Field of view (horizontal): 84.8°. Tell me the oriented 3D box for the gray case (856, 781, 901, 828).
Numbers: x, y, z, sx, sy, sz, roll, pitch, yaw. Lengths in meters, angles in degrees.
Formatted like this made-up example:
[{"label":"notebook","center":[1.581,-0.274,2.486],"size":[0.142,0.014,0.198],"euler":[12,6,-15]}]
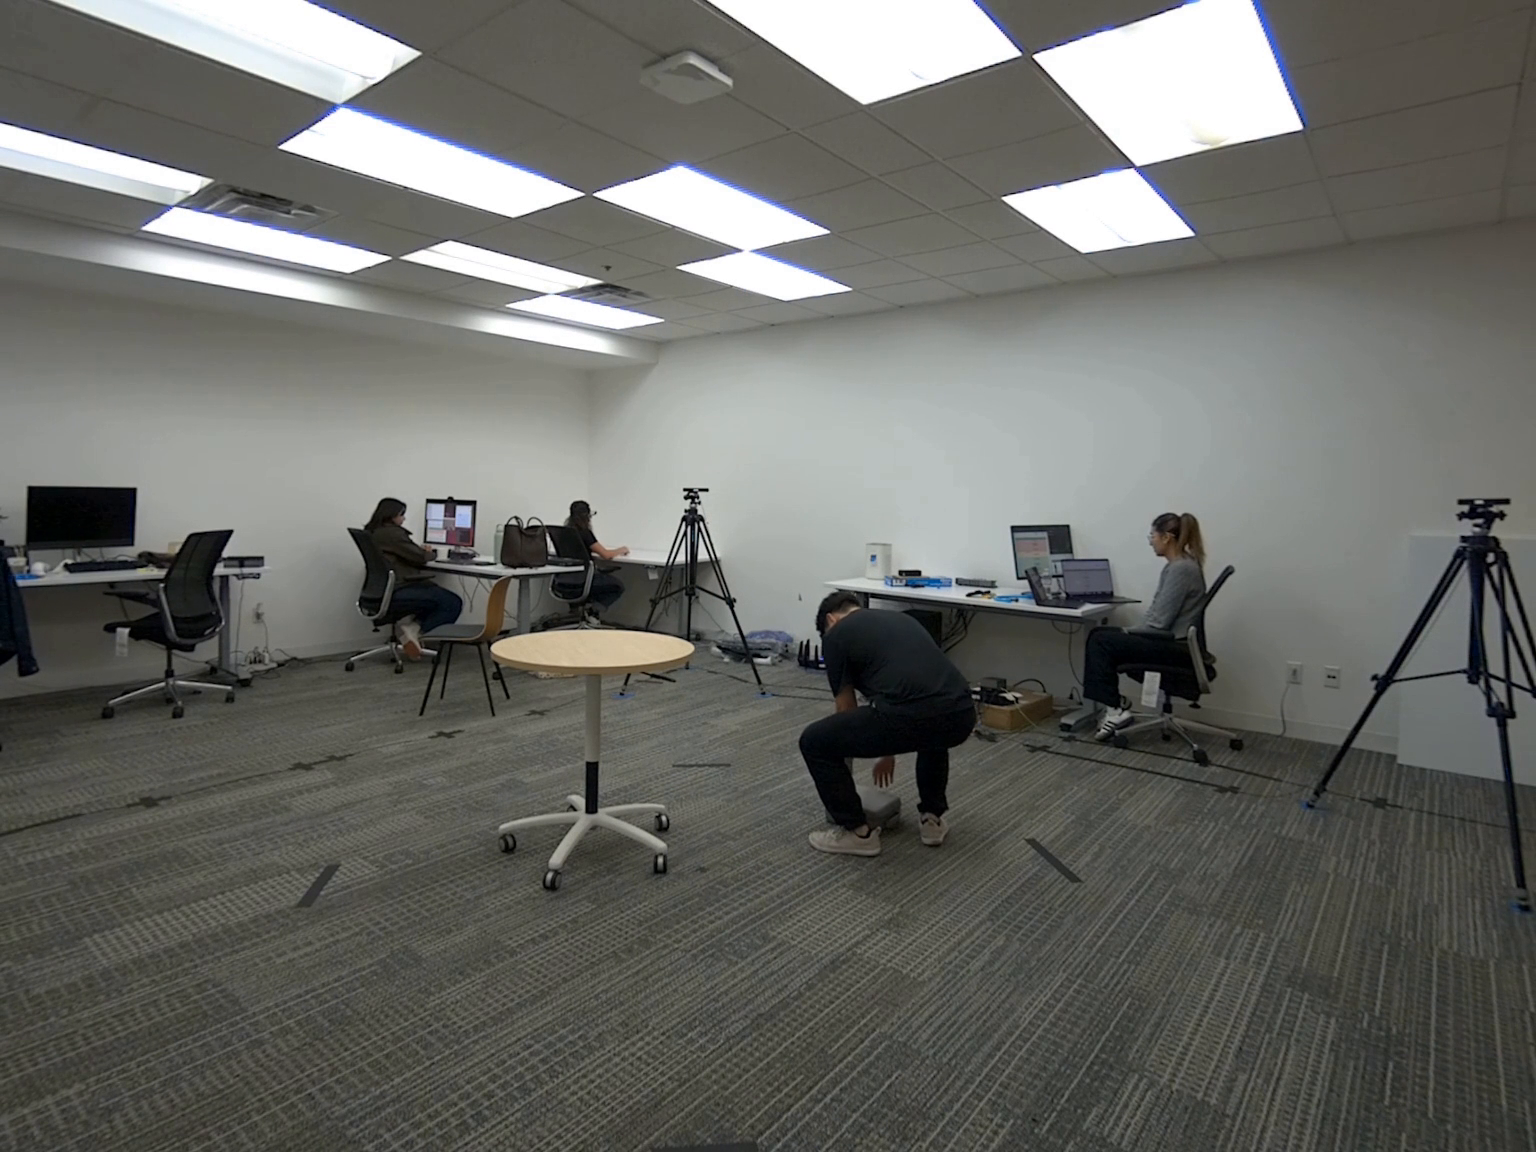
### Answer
[{"label":"gray case","center":[0.399,0.972,3.612],"size":[0.269,0.104,0.249],"euler":[5,5,34]}]
